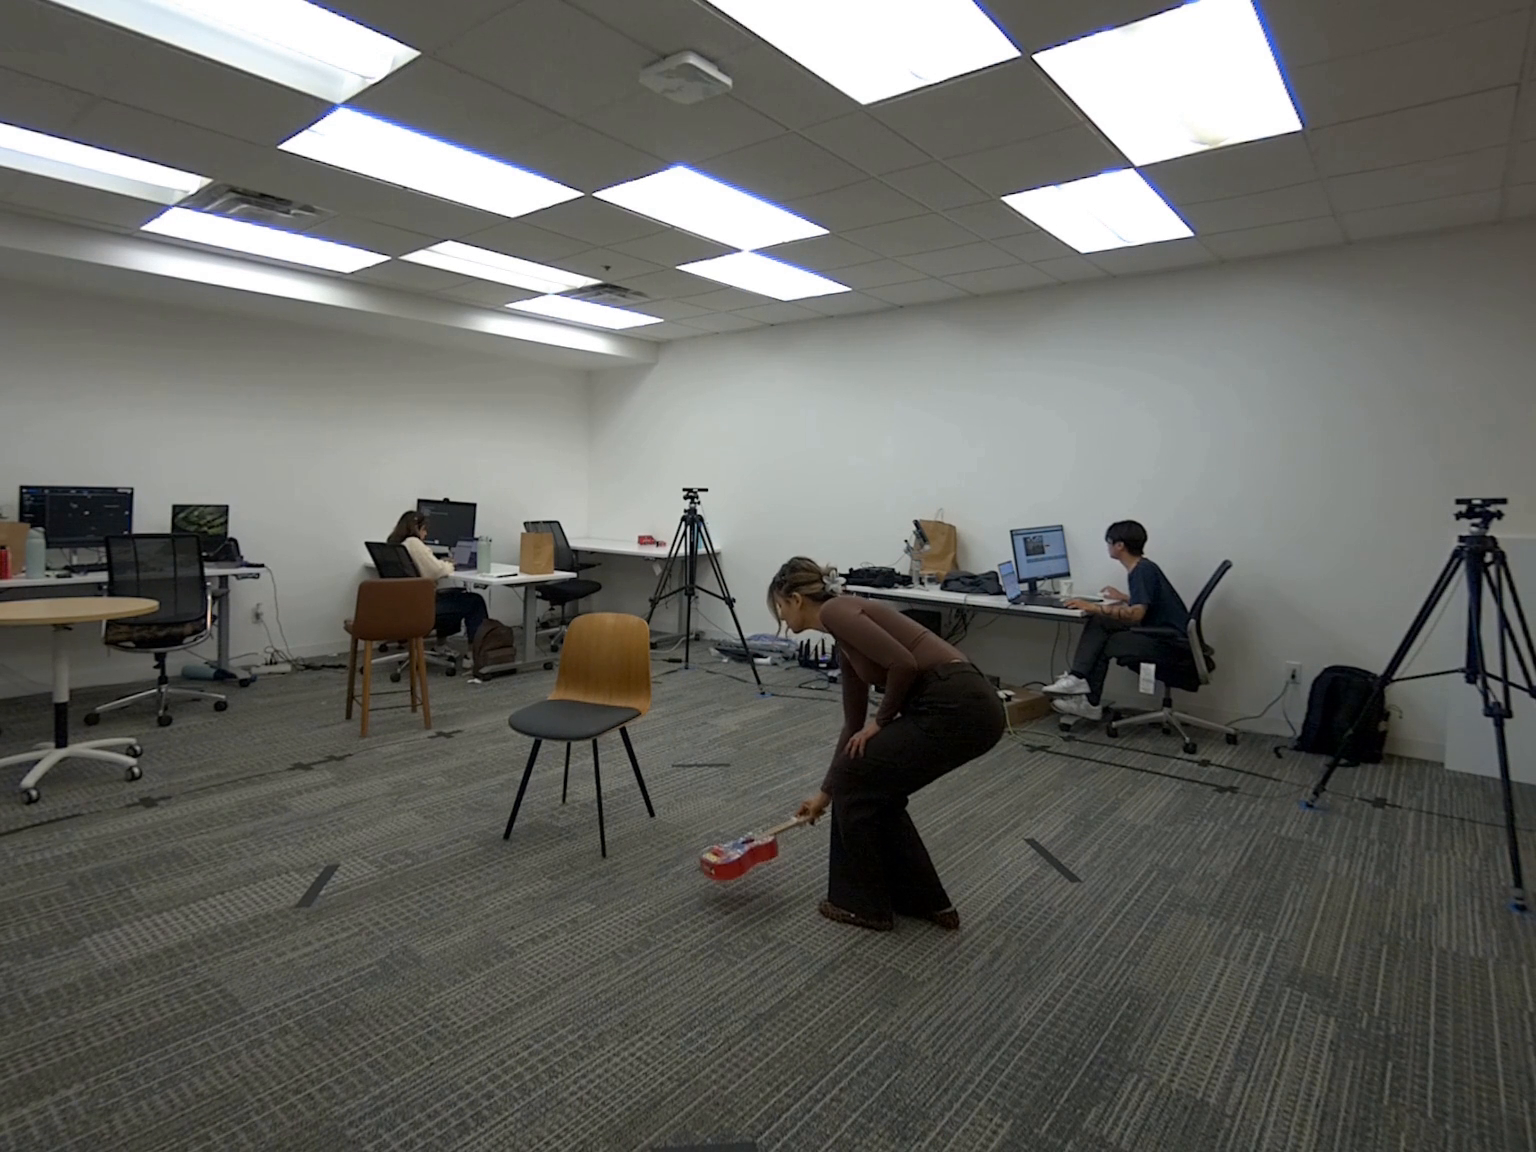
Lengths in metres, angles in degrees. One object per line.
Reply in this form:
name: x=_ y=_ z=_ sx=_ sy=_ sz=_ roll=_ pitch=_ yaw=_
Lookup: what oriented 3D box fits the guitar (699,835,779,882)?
guitar: x=-0.001 y=0.909 z=2.919 sx=0.491 sy=0.071 sz=0.195 roll=-15 pitch=1 yaw=-18
